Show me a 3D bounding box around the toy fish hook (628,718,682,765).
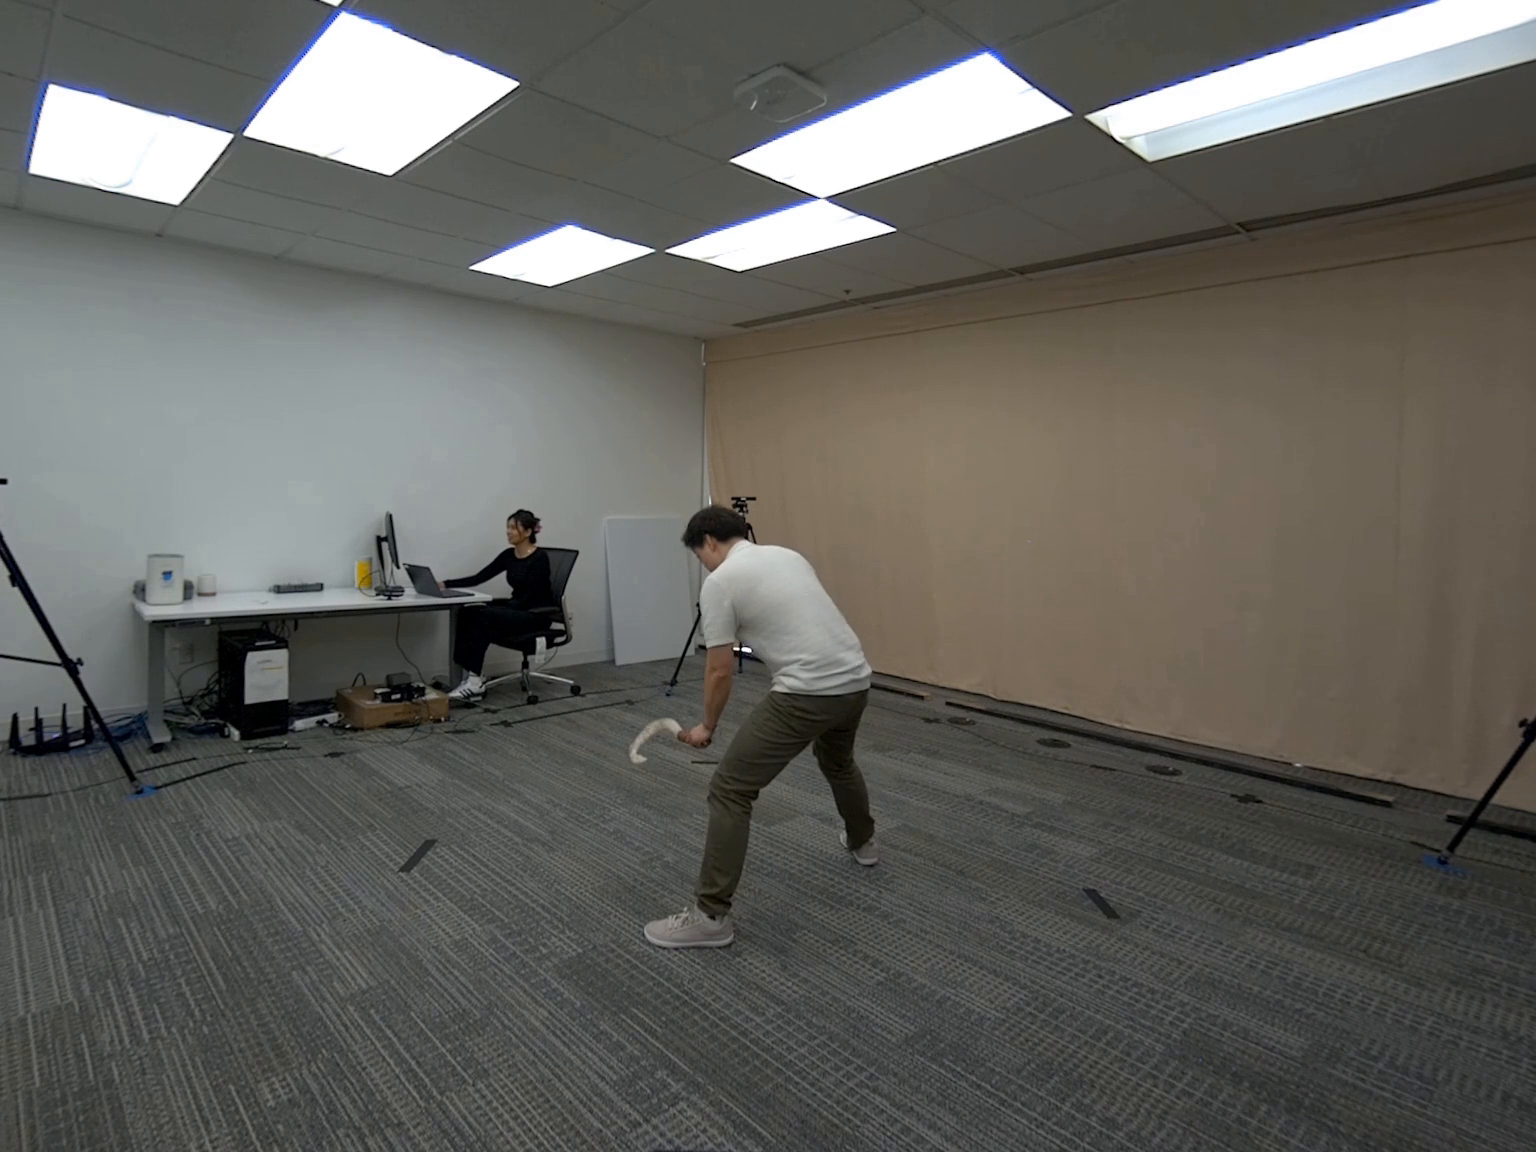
[{"bbox_3d":[-0.377,0.633,3.113,0.225,0.047,0.515,-52,22,-26],"label":"toy fish hook"}]
